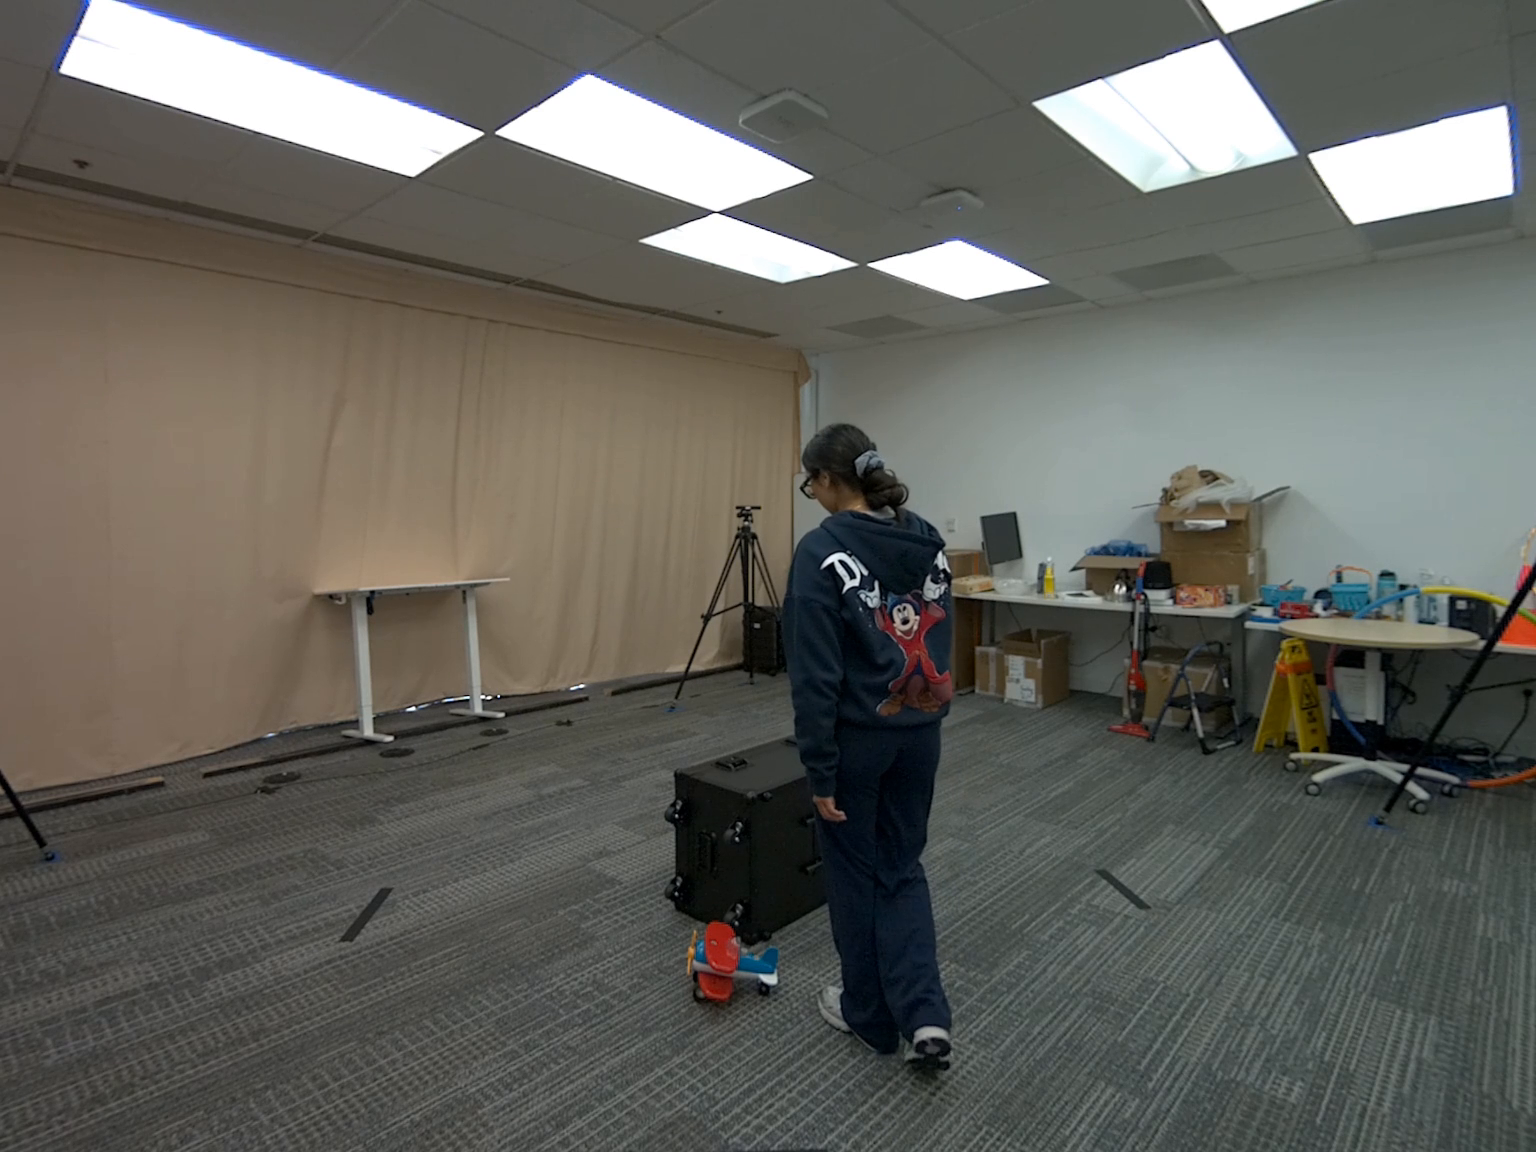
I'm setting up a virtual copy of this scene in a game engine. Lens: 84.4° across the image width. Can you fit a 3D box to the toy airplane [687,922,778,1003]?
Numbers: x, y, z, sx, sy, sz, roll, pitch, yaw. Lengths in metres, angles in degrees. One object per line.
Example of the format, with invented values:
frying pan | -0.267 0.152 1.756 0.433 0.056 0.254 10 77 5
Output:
toy airplane | -0.094 1.110 2.425 0.253 0.156 0.258 -5 5 -29
